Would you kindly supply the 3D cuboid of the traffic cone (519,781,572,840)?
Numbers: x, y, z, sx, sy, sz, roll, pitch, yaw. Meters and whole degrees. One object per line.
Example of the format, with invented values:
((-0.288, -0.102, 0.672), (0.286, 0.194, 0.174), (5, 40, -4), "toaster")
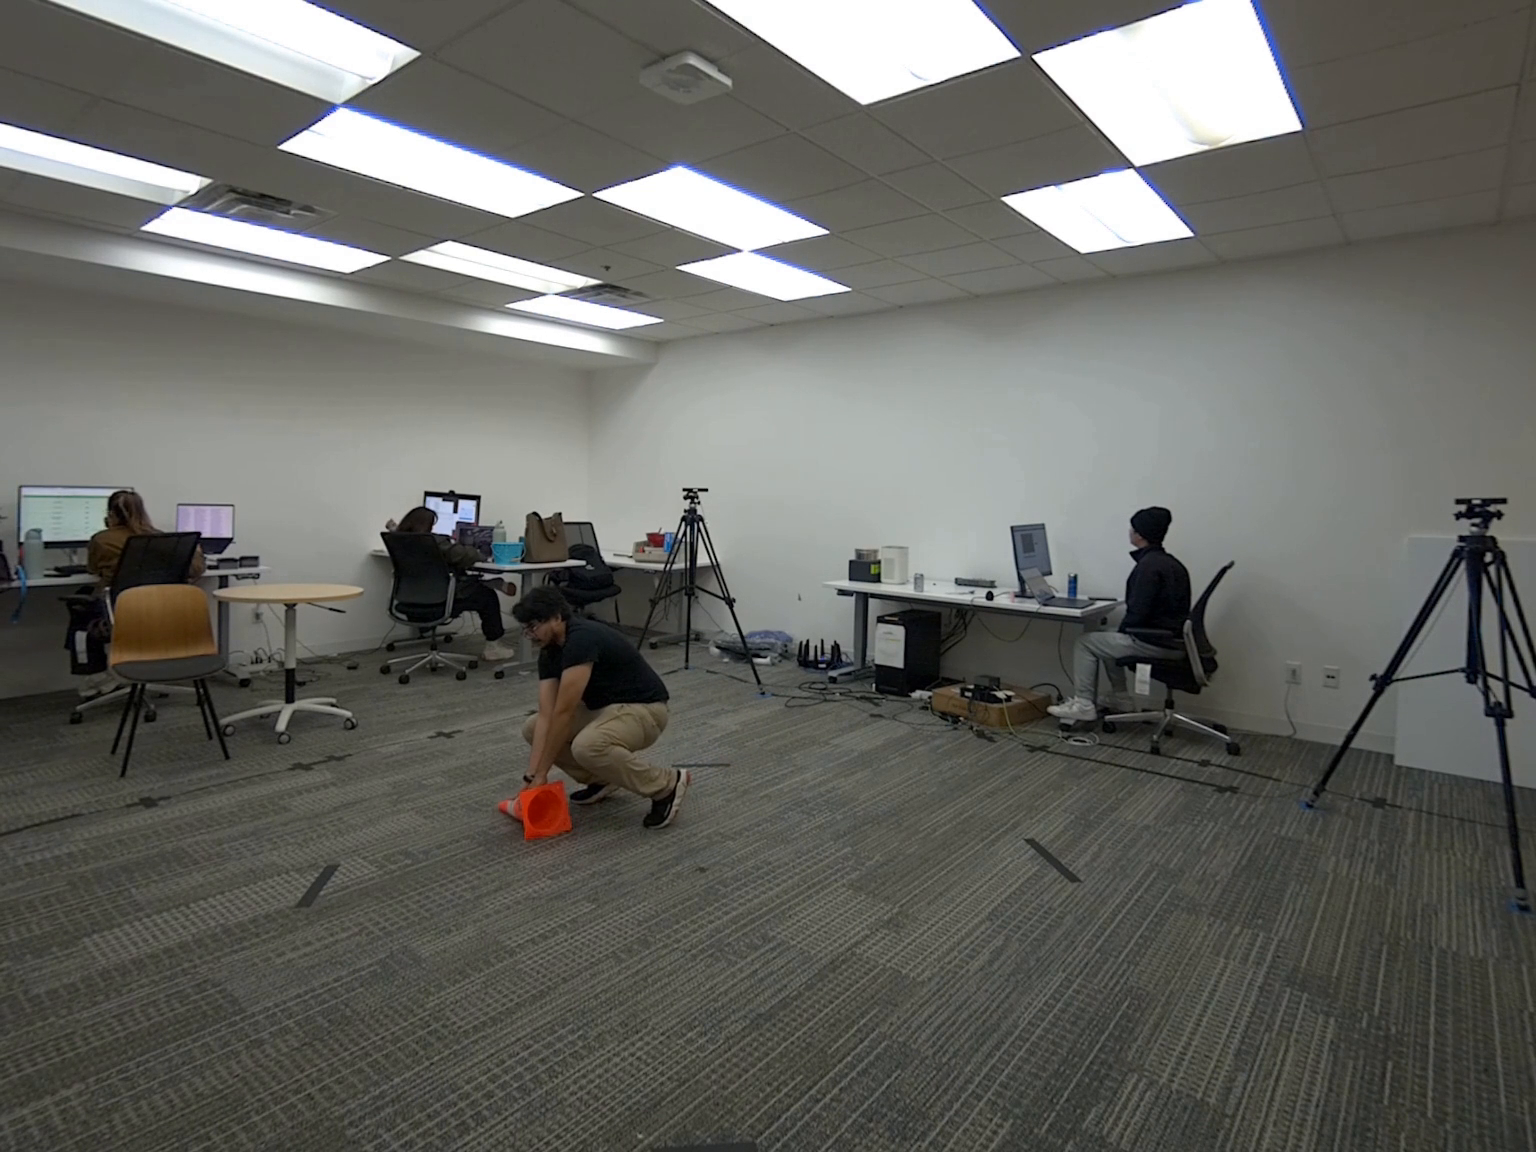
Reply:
((-1.037, 0.964, 3.534), (0.197, 0.206, 0.393), (-3, -8, -45), "traffic cone")
